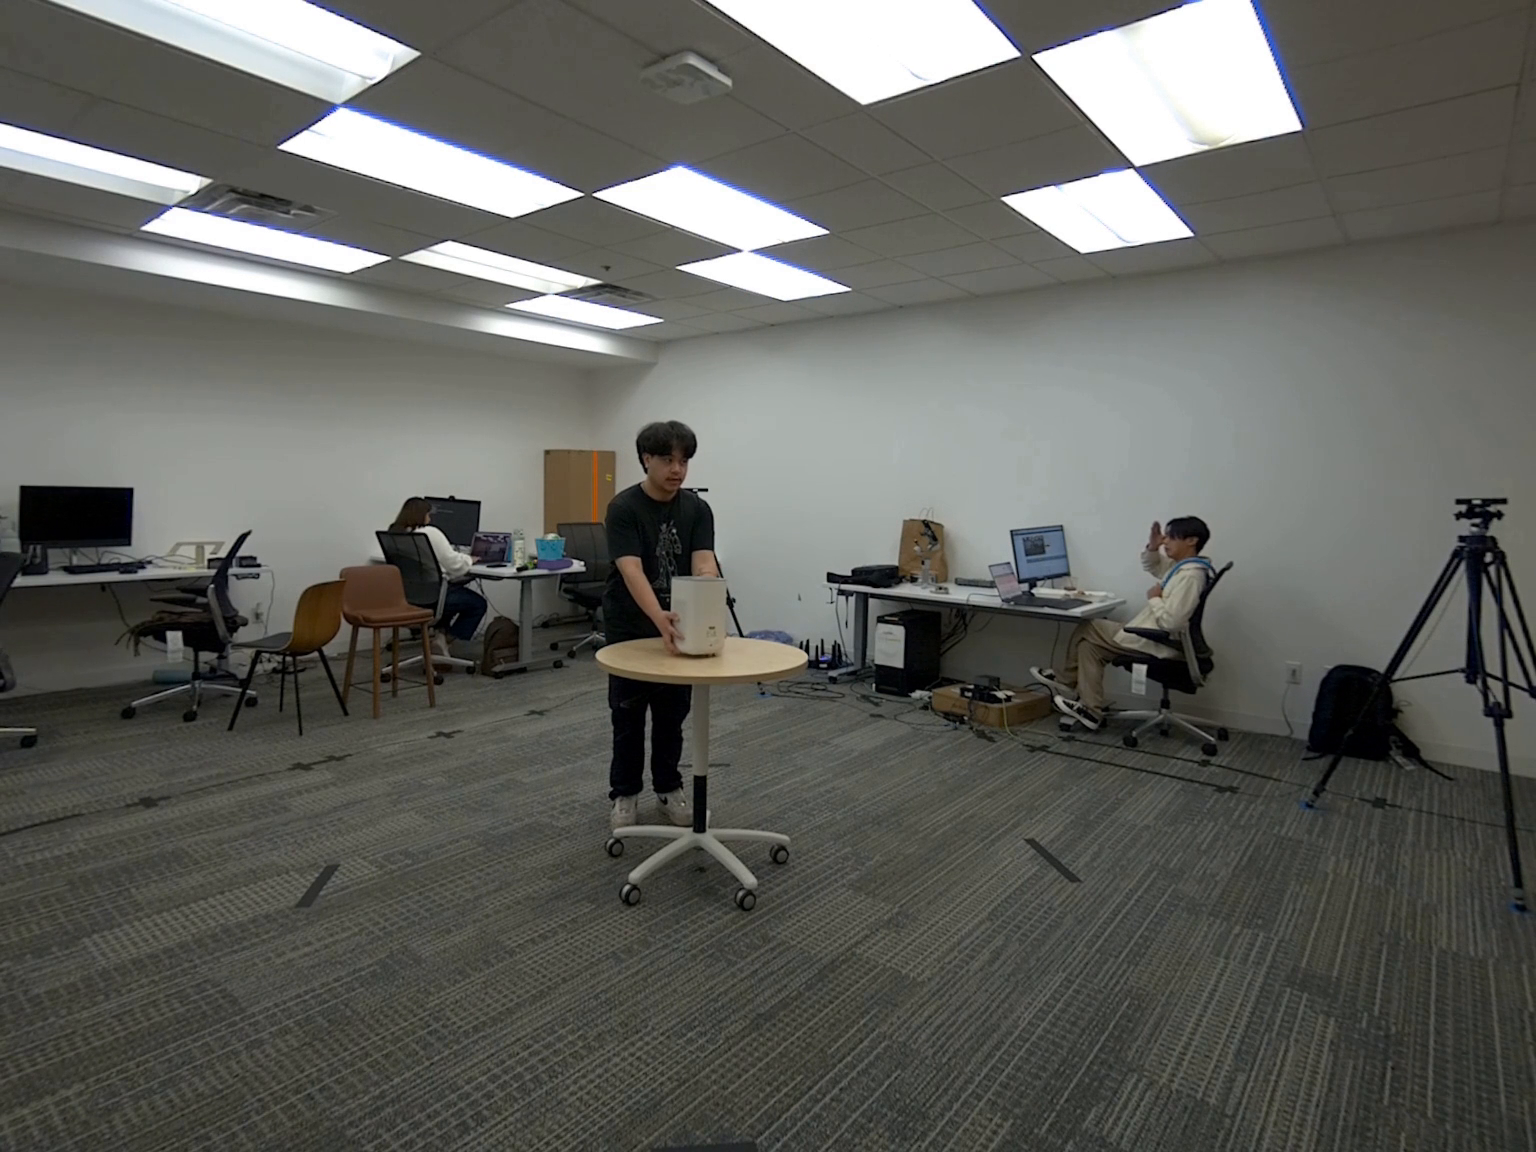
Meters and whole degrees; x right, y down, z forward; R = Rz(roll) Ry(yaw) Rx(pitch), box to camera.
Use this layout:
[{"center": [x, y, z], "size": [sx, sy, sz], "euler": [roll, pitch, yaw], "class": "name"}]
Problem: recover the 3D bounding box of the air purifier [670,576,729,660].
[{"center": [-0.262, 0.131, 3.055], "size": [0.166, 0.265, 0.177], "euler": [-1, 2, -43], "class": "air purifier"}]
